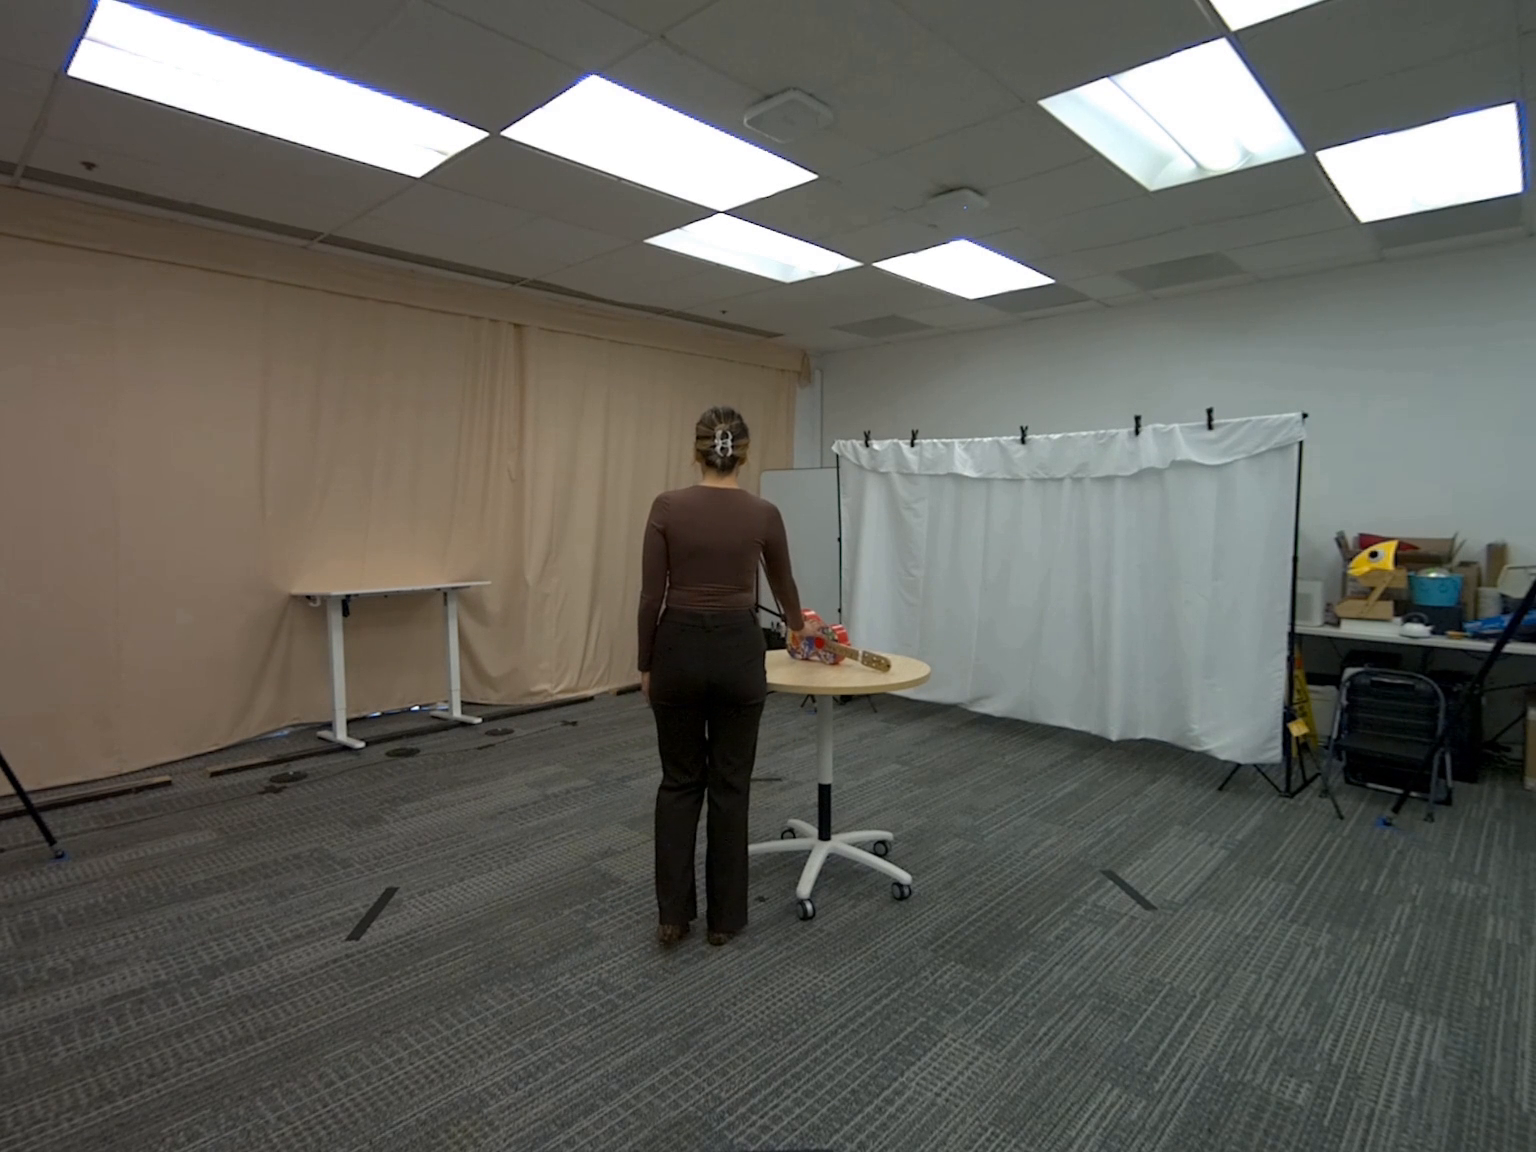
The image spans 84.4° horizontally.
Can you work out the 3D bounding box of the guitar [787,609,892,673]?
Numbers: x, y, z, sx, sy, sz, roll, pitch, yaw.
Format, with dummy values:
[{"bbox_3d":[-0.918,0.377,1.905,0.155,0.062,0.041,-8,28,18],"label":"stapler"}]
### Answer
[{"bbox_3d":[0.260,0.292,3.141,0.068,0.192,0.516,-2,21,-44],"label":"guitar"}]
